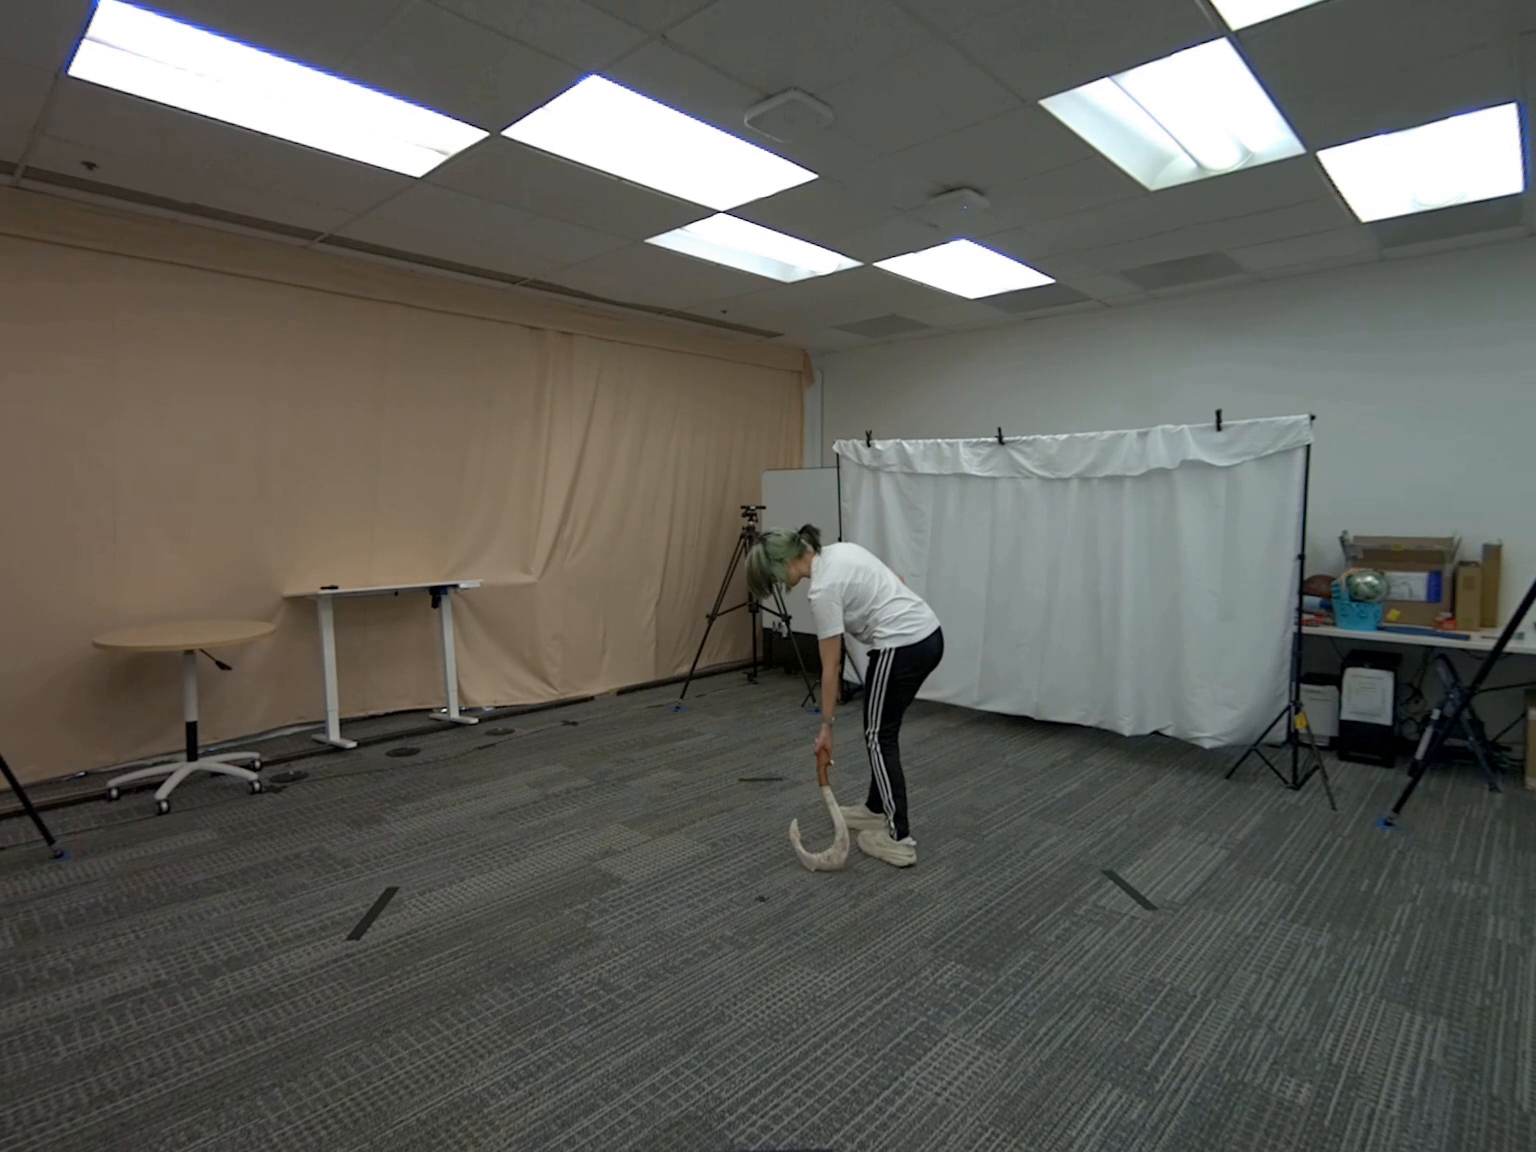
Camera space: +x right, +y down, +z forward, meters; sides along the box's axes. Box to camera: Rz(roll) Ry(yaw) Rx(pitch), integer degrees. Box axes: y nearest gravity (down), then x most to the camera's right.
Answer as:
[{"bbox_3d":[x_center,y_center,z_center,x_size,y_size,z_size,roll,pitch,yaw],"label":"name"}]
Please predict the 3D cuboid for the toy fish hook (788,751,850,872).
[{"bbox_3d":[0.191,0.886,3.297,0.226,0.515,0.047,-7,-25,5],"label":"toy fish hook"}]
